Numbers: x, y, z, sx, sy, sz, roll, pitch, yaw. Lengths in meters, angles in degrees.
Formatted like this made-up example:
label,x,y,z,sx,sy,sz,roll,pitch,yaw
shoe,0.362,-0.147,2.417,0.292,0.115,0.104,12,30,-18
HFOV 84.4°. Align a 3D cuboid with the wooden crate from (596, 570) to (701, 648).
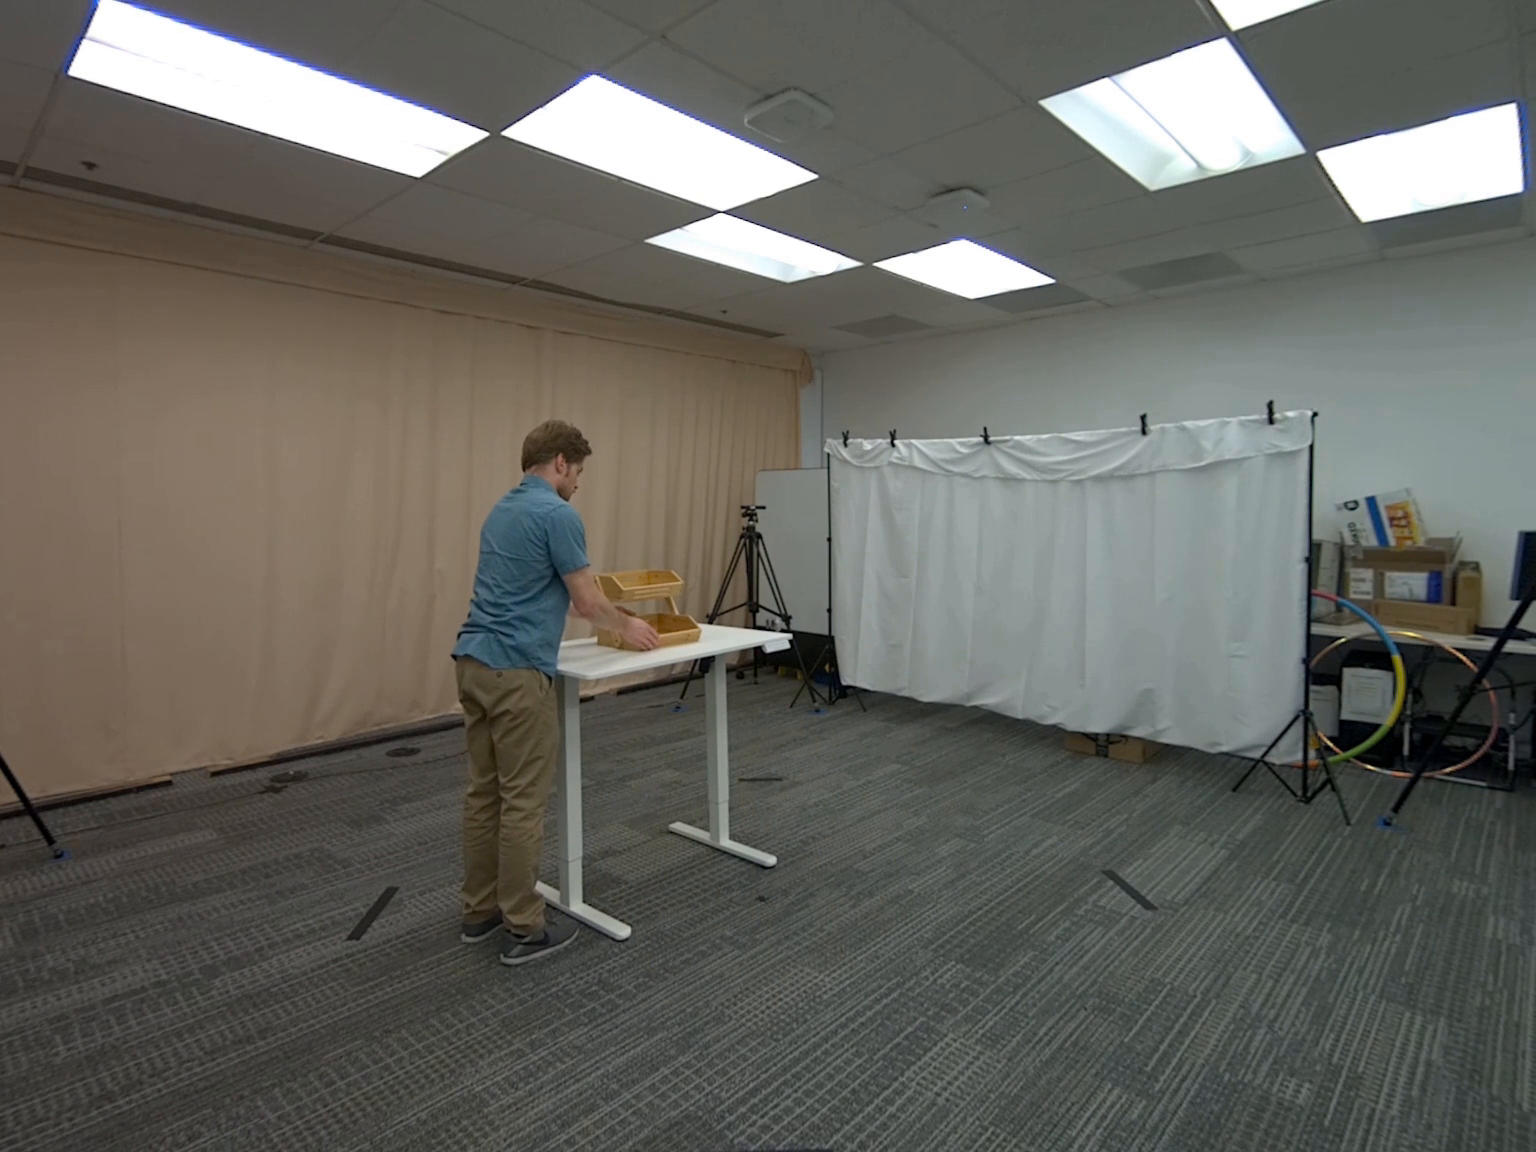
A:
label,x,y,z,sx,sy,sz,roll,pitch,yaw
wooden crate,-0.456,0.118,3.150,0.312,0.273,0.315,2,5,42
